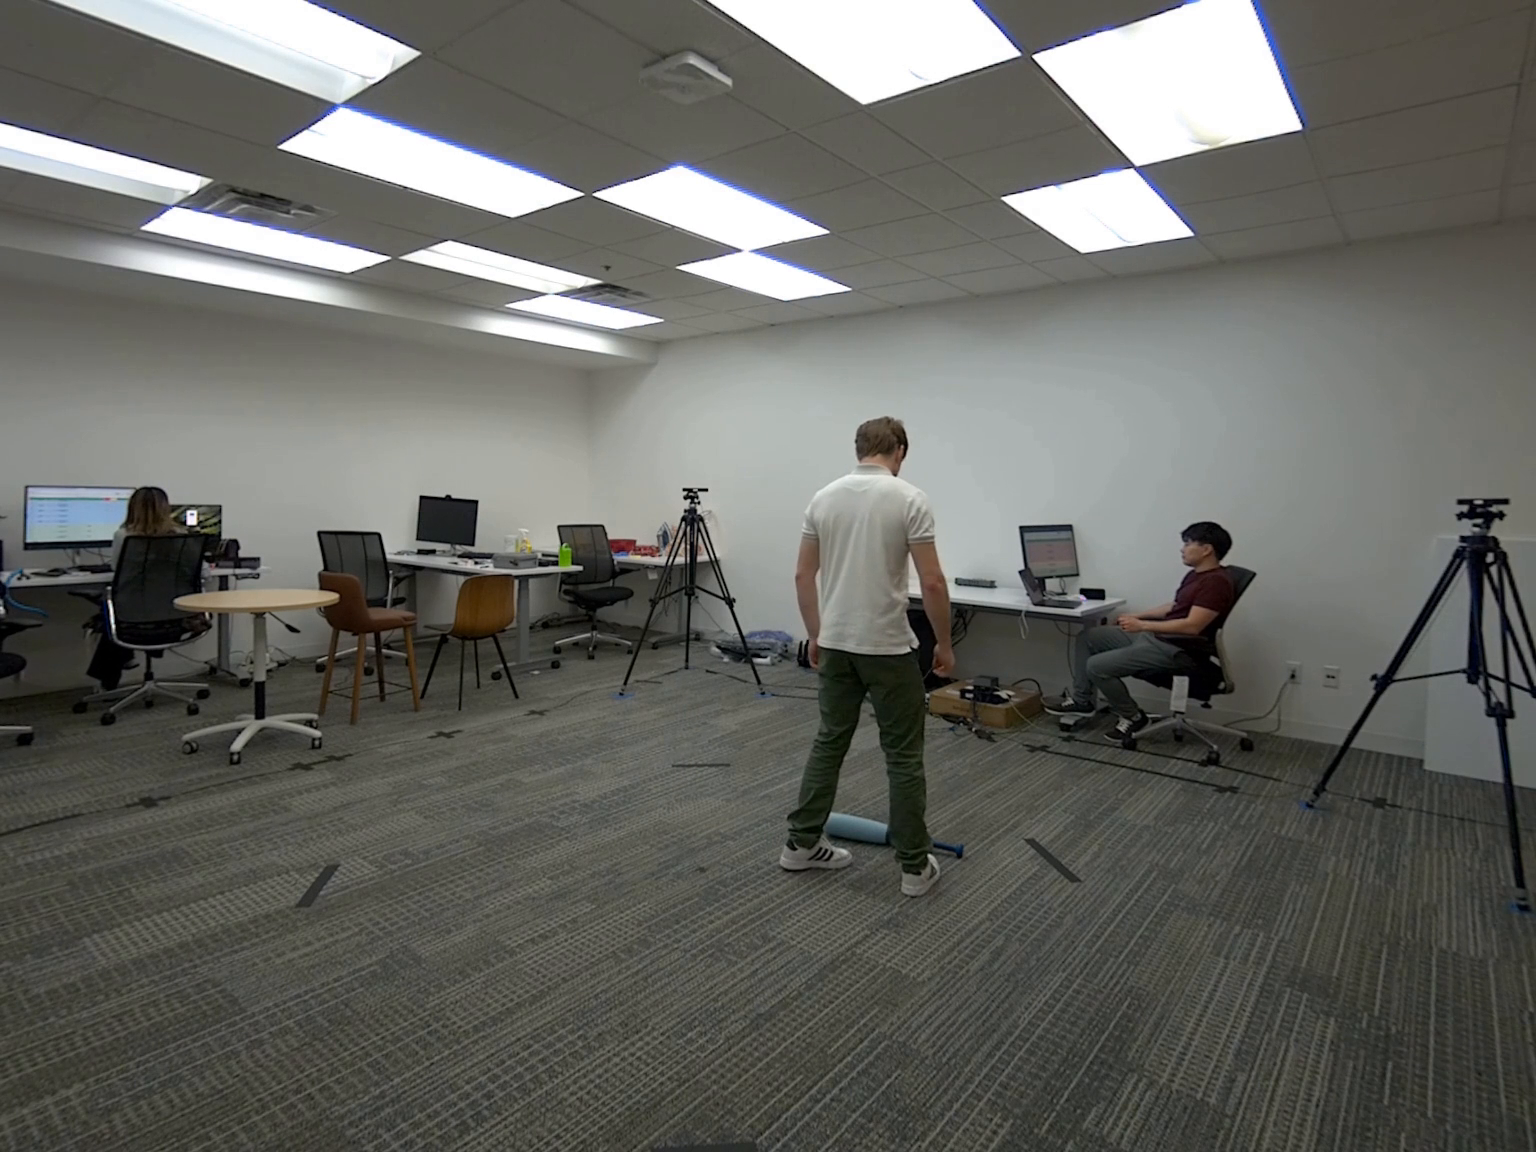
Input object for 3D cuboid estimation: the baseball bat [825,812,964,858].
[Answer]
[{"bbox_3d":[0.490,1.026,3.361,0.555,0.089,0.087,6,5,19],"label":"baseball bat"}]
